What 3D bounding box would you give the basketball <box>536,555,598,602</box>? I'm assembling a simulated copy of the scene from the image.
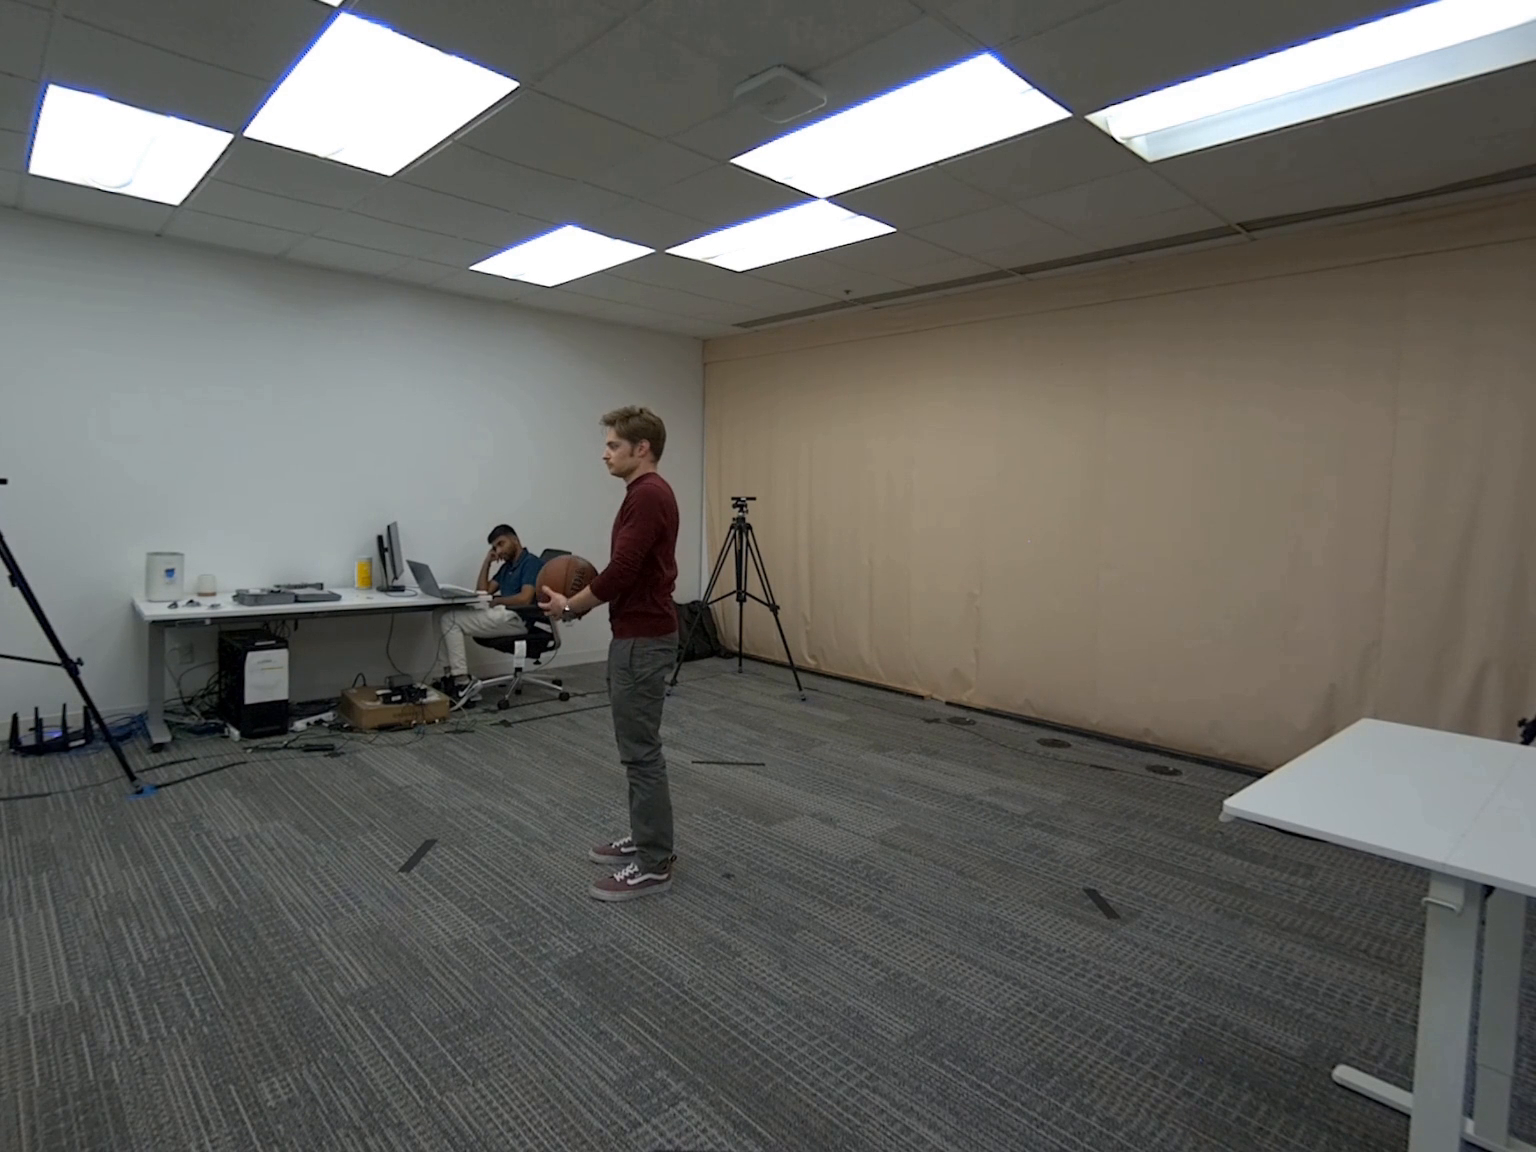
[{"bbox_3d":[-0.719,0.037,3.108,0.236,0.235,0.237,1,4,-1],"label":"basketball"}]
